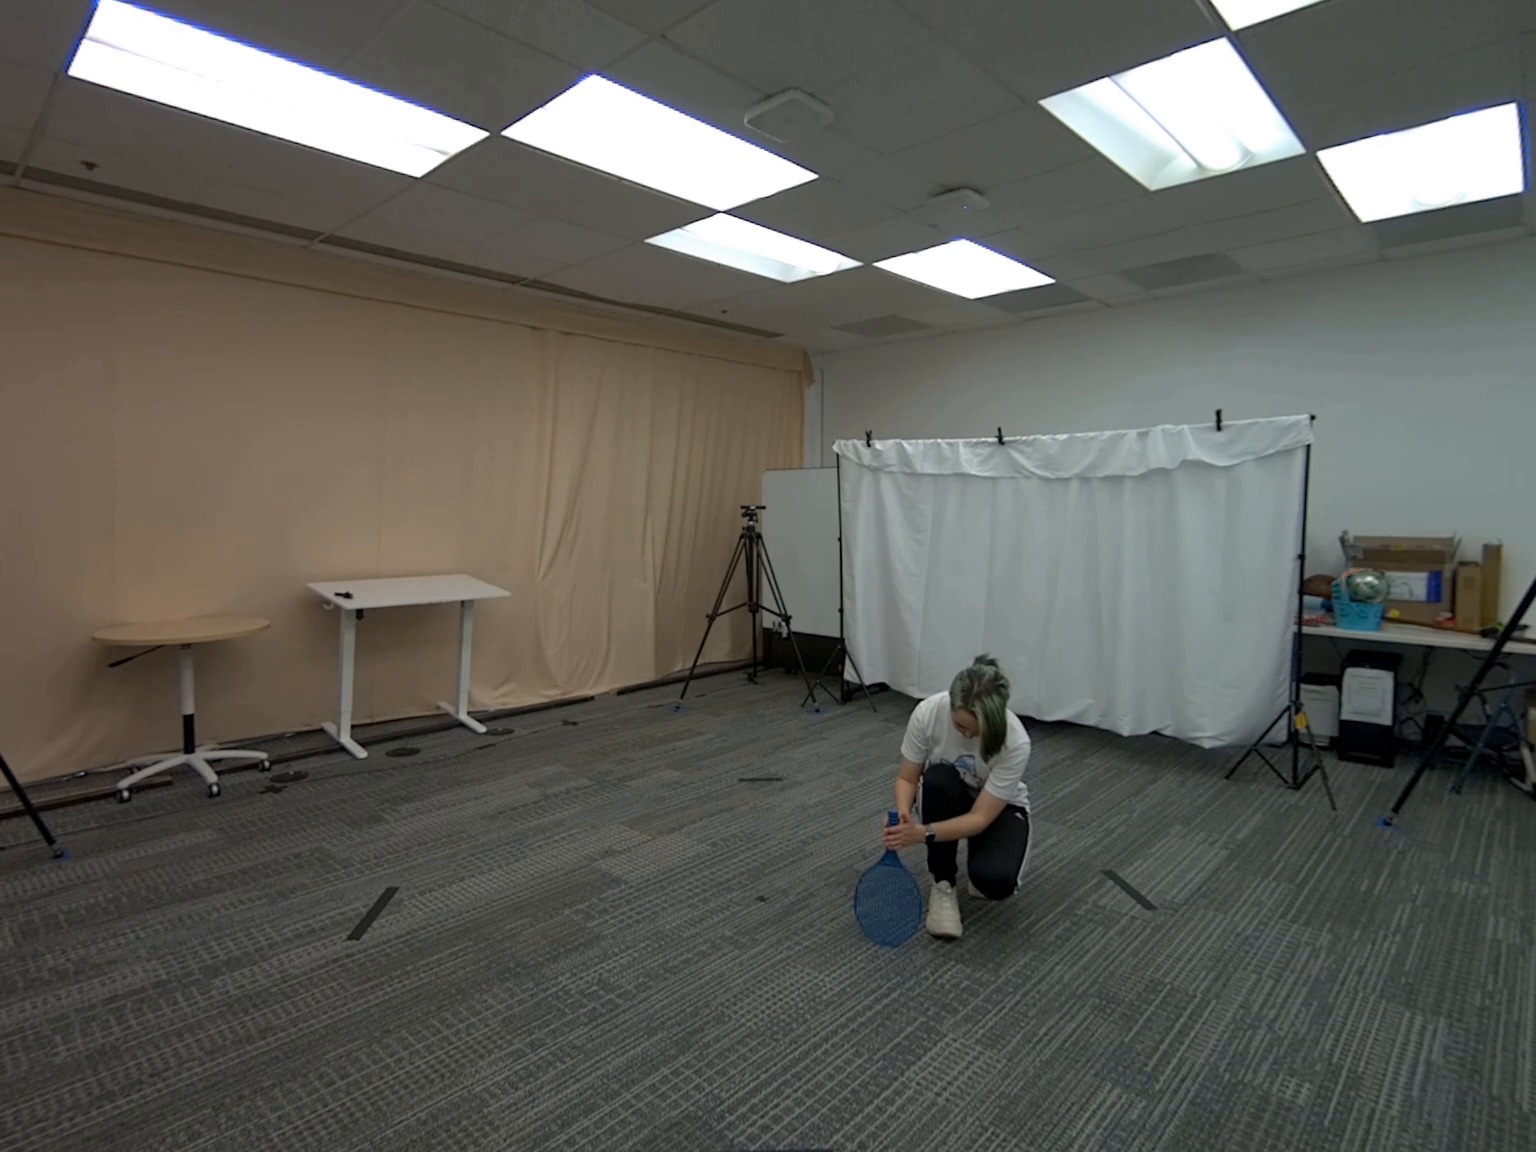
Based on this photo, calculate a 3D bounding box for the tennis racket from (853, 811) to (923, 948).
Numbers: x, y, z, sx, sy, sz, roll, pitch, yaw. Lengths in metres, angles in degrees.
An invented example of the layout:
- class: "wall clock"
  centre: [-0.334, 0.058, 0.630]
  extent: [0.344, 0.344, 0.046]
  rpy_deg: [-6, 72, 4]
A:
- class: "tennis racket"
  centre: [0.398, 0.960, 2.651]
  extent: [0.215, 0.432, 0.031]
  rpy_deg: [6, 3, 7]
